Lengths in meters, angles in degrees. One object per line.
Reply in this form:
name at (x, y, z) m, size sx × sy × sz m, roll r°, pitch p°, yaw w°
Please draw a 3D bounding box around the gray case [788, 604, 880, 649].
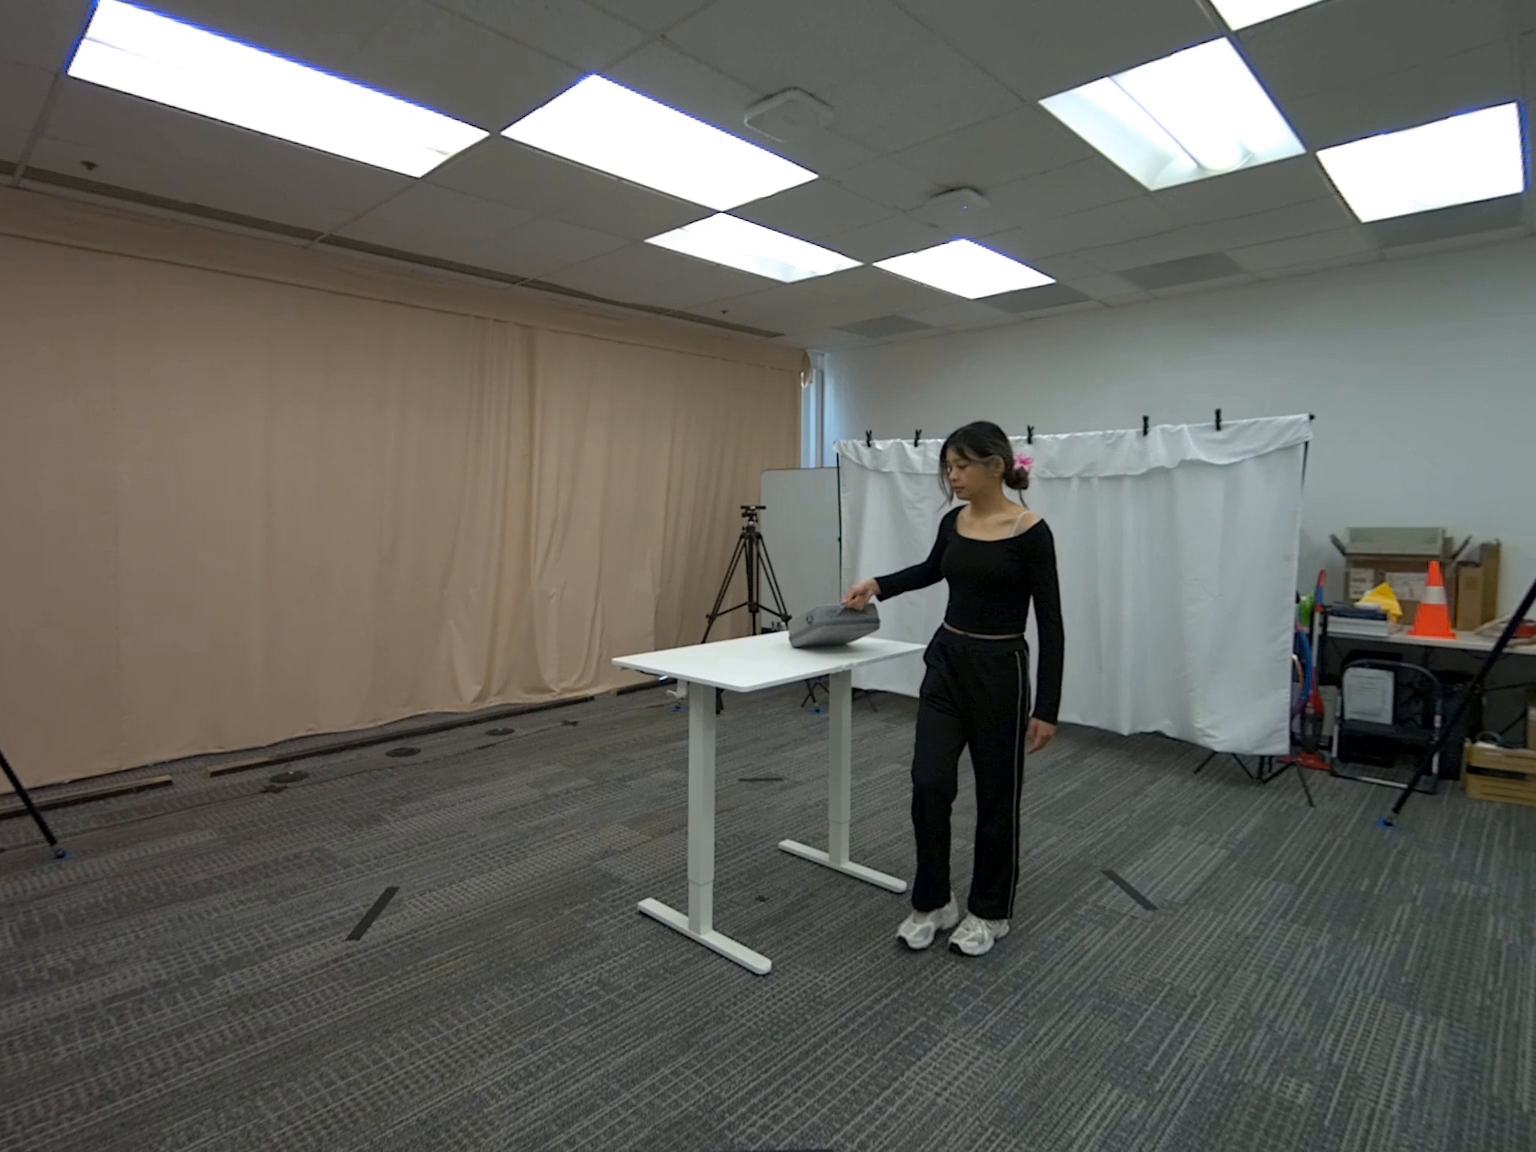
gray case at (0.228, 0.174, 2.972) m, size 0.251 × 0.105 × 0.264 m, roll 0°, pitch -17°, yaw -25°
